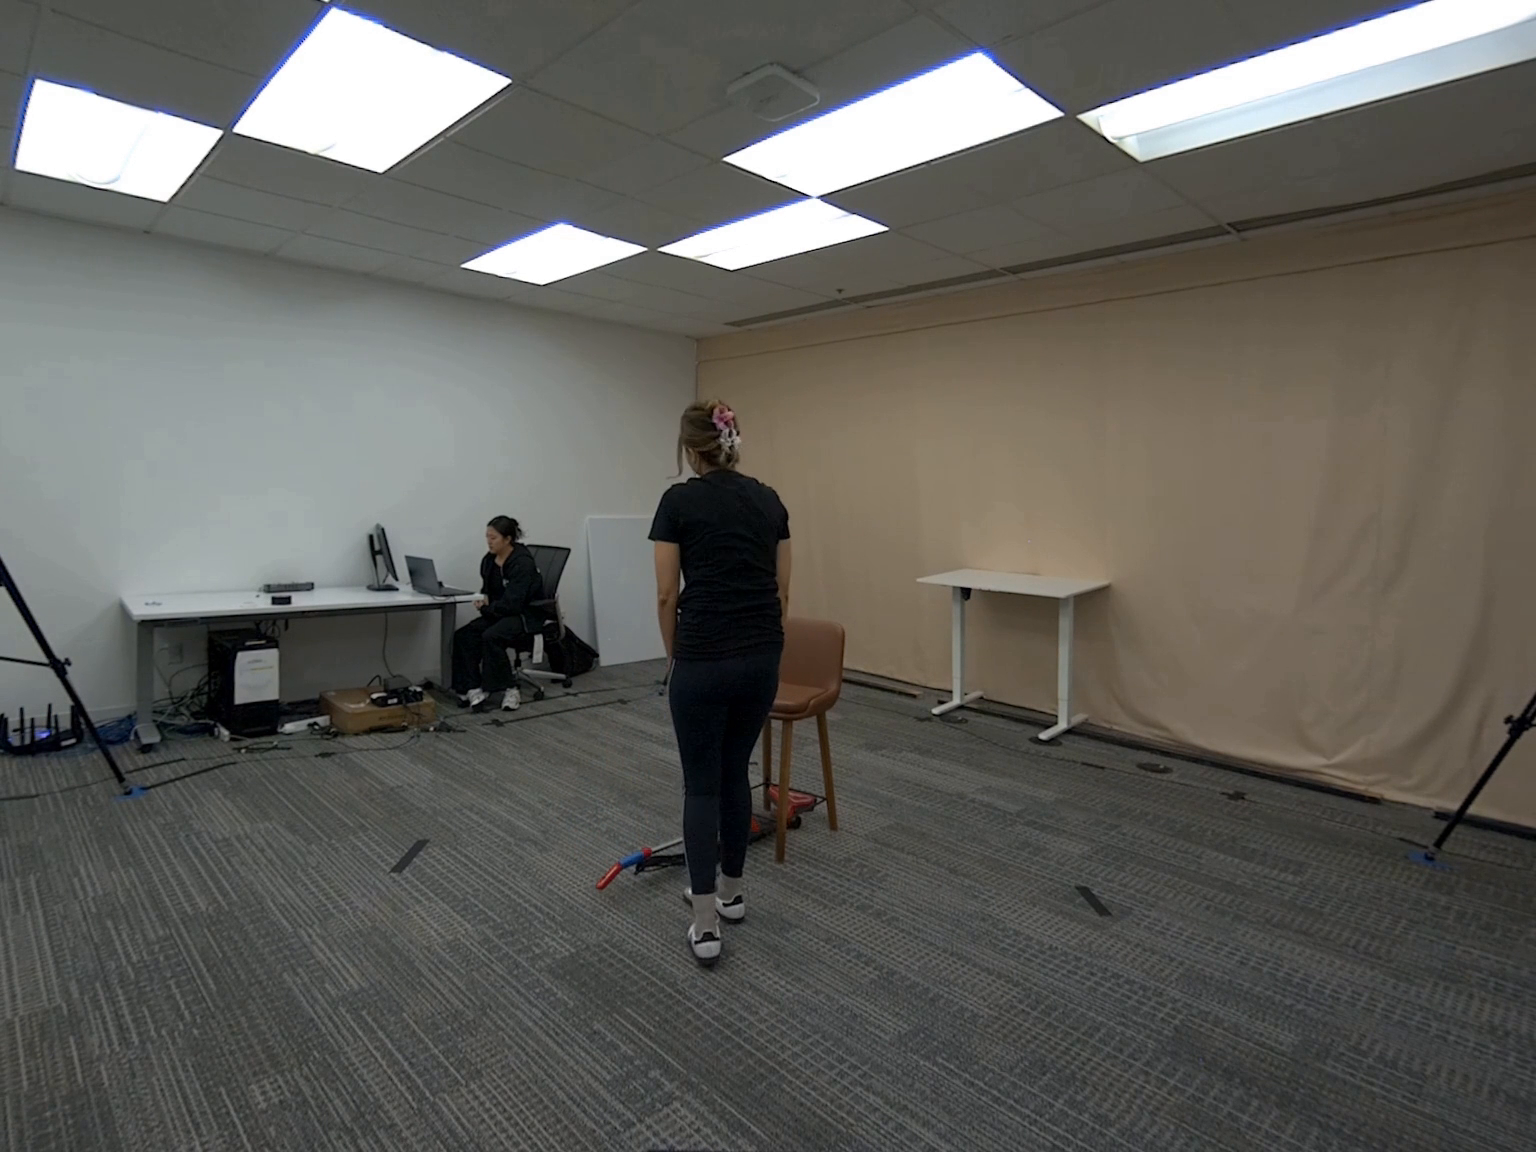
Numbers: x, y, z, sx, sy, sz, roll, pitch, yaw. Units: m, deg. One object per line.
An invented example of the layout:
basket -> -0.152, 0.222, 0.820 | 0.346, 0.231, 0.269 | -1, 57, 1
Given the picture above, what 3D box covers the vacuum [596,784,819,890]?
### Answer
vacuum -> -0.247, 1.033, 3.227 | 0.259, 0.143, 1.026 | 6, 8, 41
